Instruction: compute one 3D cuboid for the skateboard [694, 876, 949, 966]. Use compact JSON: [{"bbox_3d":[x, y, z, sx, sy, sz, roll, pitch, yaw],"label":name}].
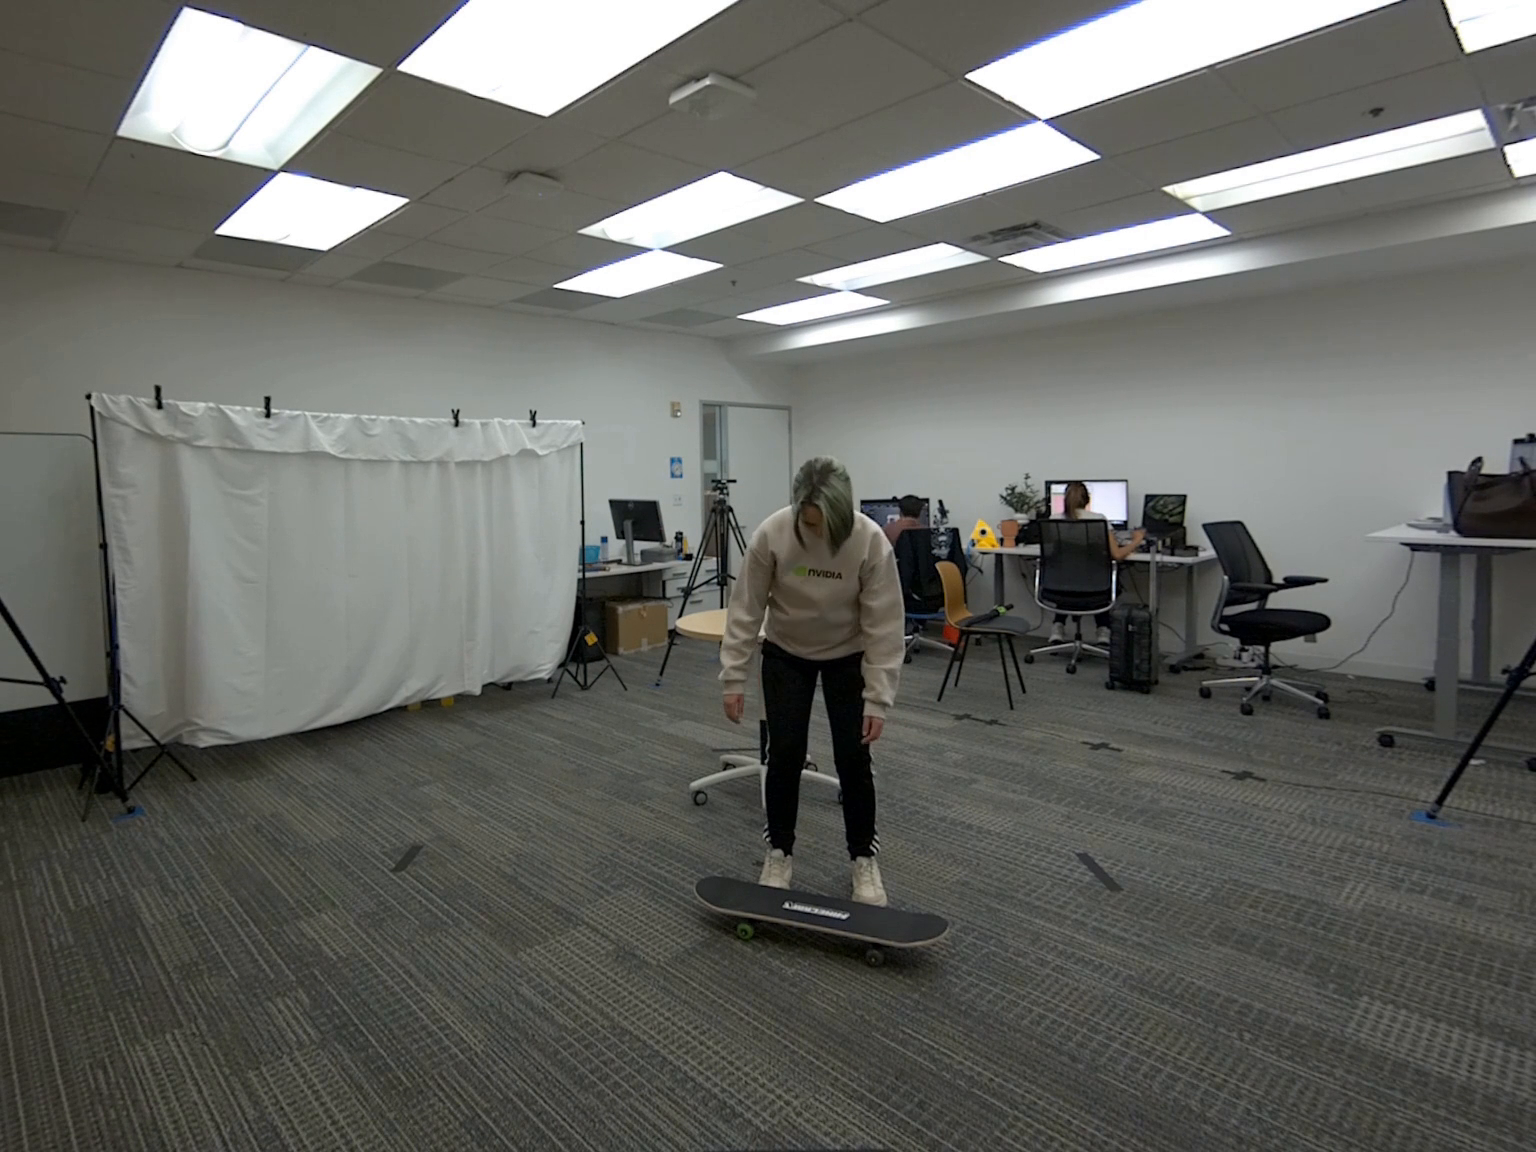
[{"bbox_3d":[0.150,1.040,2.593,0.802,0.110,0.190,2,6,23],"label":"skateboard"}]
